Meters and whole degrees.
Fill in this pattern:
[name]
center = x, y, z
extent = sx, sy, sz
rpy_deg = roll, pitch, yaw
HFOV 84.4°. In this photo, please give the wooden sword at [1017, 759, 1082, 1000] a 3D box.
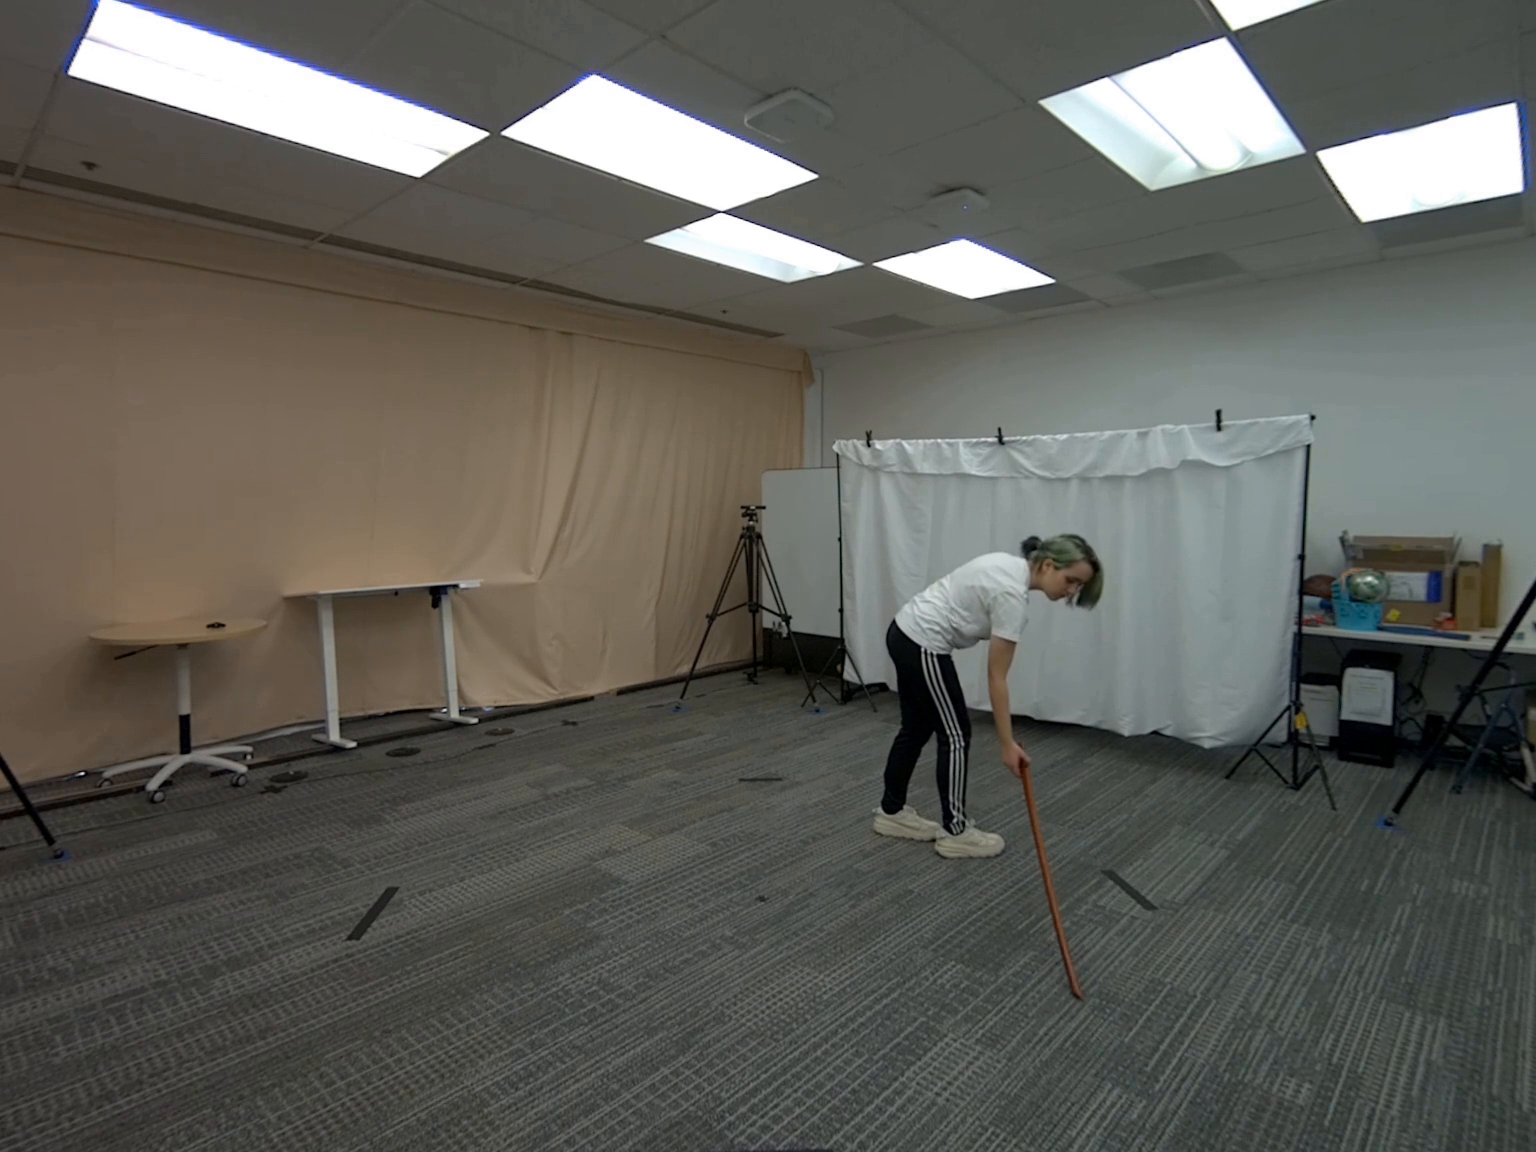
[wooden sword]
center = 0.940, 0.926, 2.829
extent = 0.051, 0.024, 1.033
rpy_deg = 19, 31, -4
